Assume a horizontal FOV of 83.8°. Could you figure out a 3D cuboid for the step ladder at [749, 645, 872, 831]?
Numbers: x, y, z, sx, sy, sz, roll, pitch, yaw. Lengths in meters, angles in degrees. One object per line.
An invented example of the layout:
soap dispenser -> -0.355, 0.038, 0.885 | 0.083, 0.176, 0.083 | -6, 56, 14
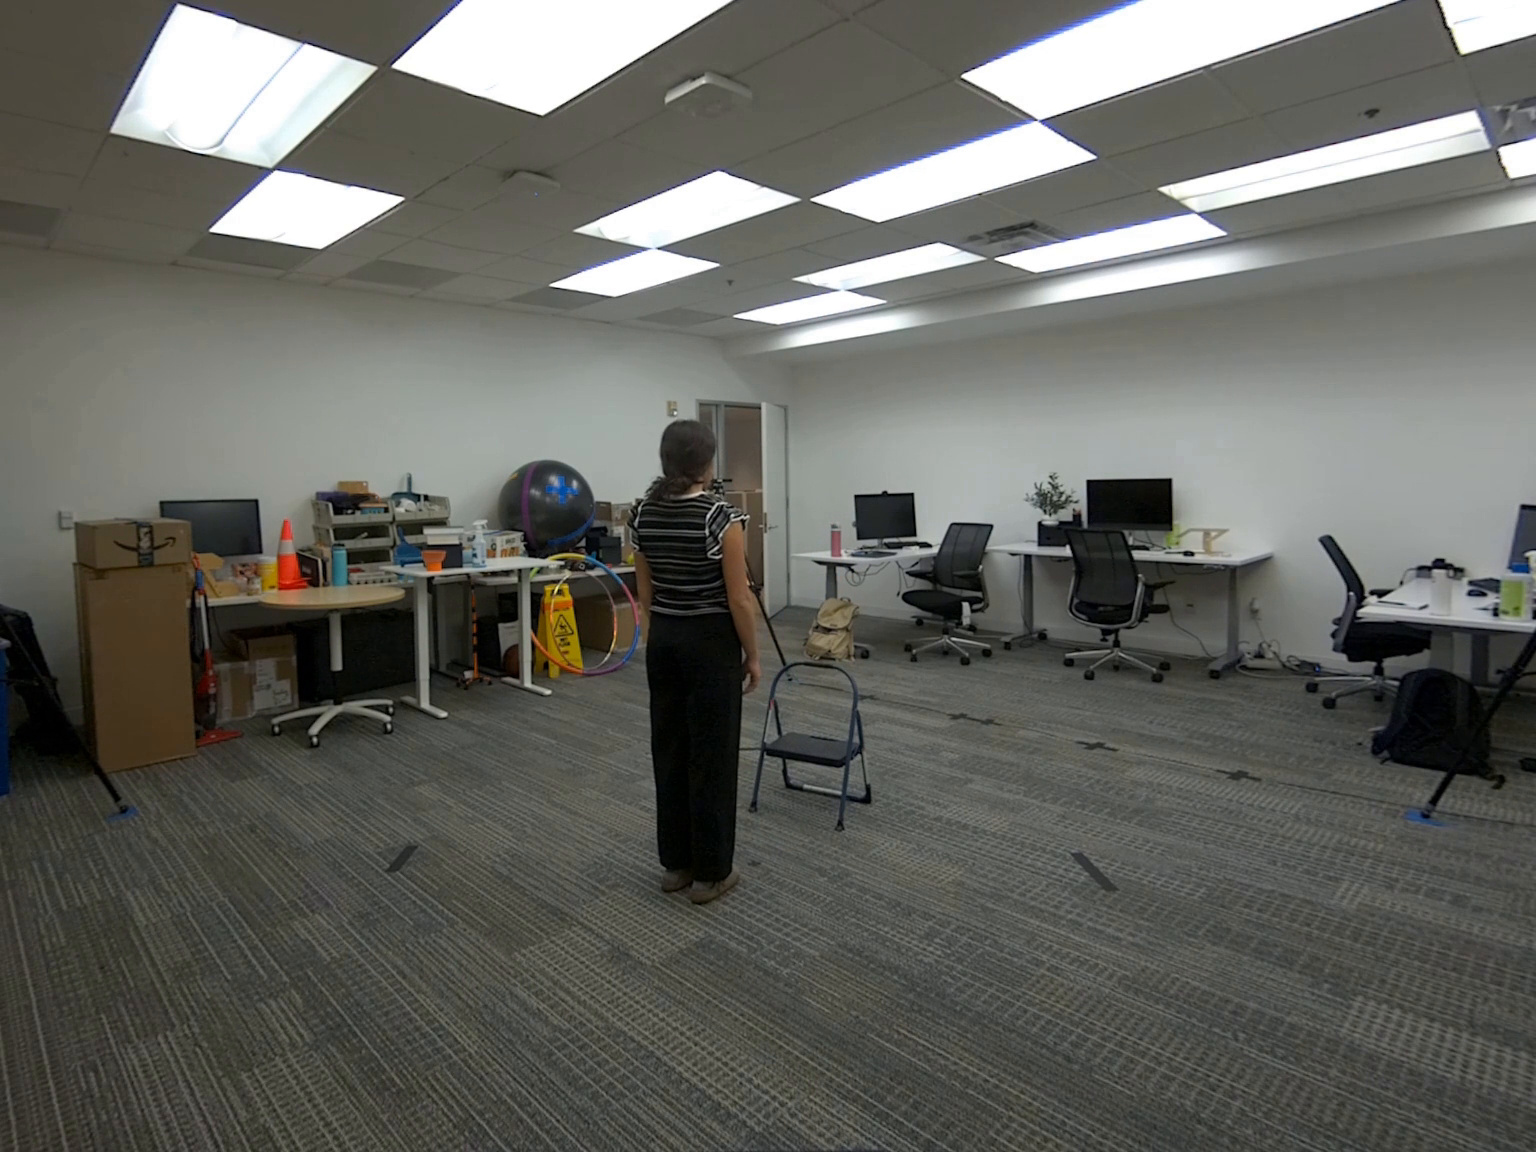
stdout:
step ladder -> 0.184, 0.682, 3.615 | 0.442, 0.604, 0.341 | 2, 5, 30
